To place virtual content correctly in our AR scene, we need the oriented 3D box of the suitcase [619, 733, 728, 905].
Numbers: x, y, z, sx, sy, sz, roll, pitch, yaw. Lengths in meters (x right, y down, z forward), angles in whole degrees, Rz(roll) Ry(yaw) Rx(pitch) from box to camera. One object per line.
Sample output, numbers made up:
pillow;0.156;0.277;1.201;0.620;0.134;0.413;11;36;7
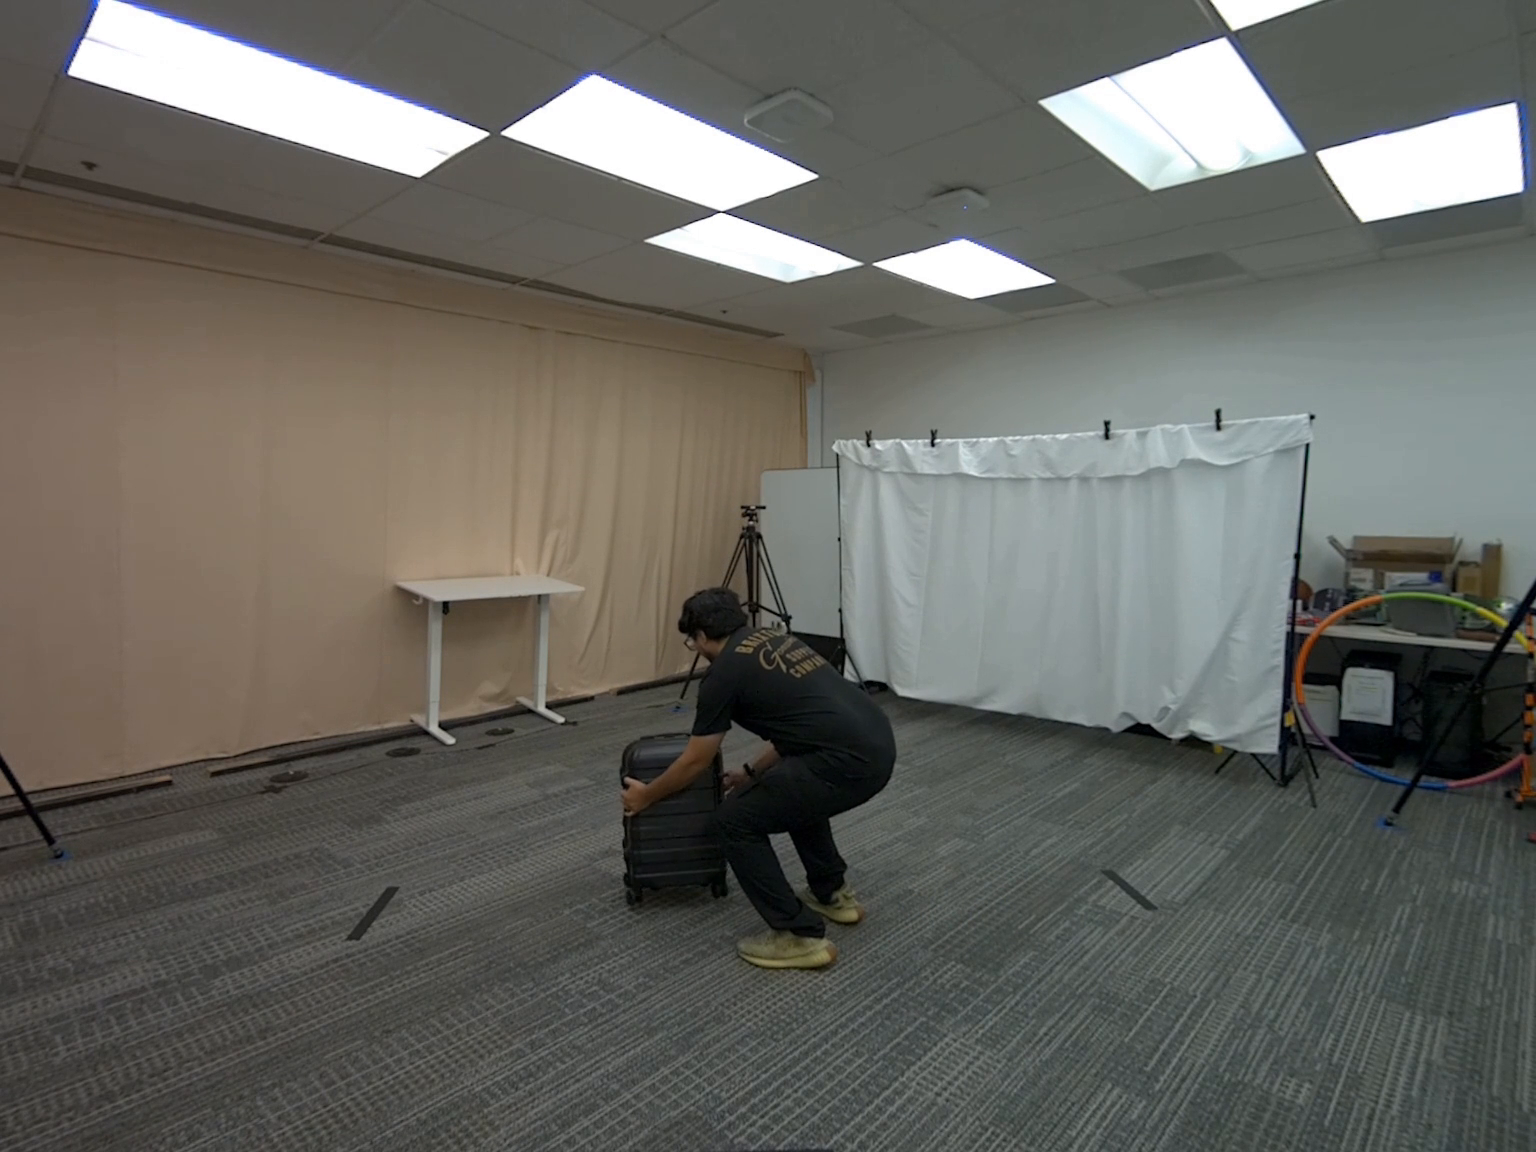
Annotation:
suitcase;-0.337;0.852;3.016;0.372;0.550;0.250;-3;-3;-8
